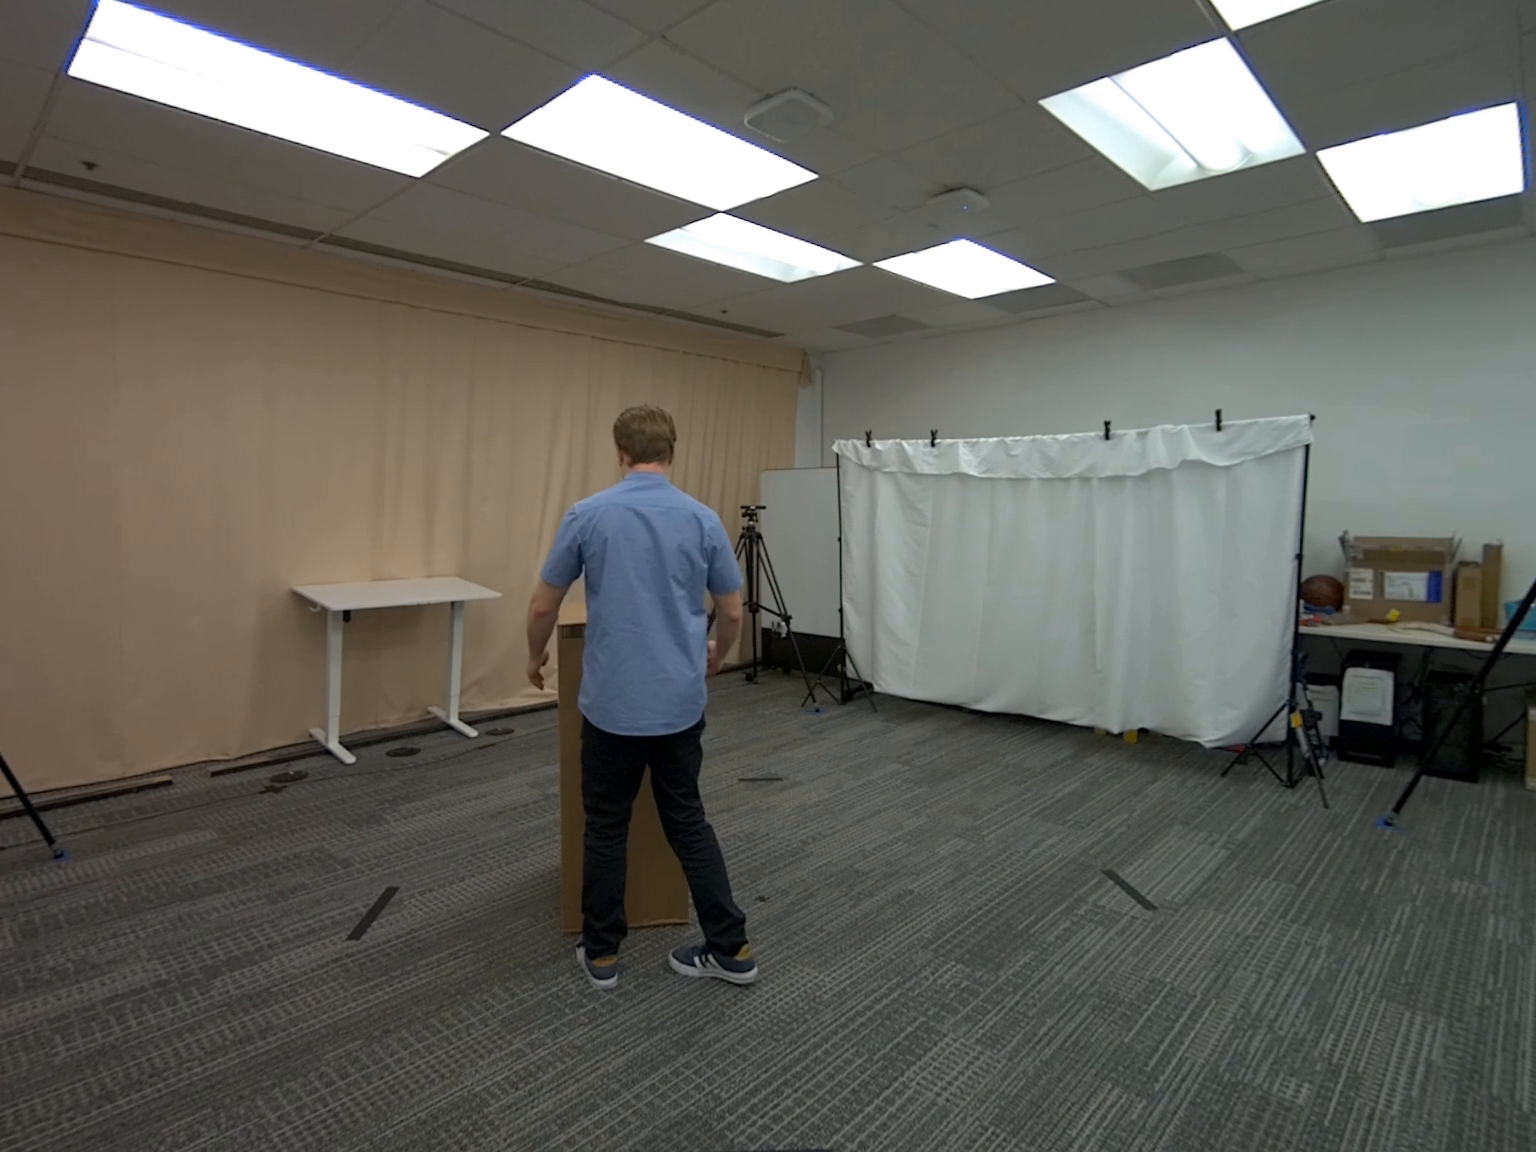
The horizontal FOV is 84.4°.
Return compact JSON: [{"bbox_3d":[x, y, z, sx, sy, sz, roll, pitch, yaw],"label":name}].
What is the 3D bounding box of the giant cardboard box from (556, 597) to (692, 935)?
[{"bbox_3d":[-0.537,0.634,3.035,0.442,1.025,0.591,0,2,-11],"label":"giant cardboard box"}]
